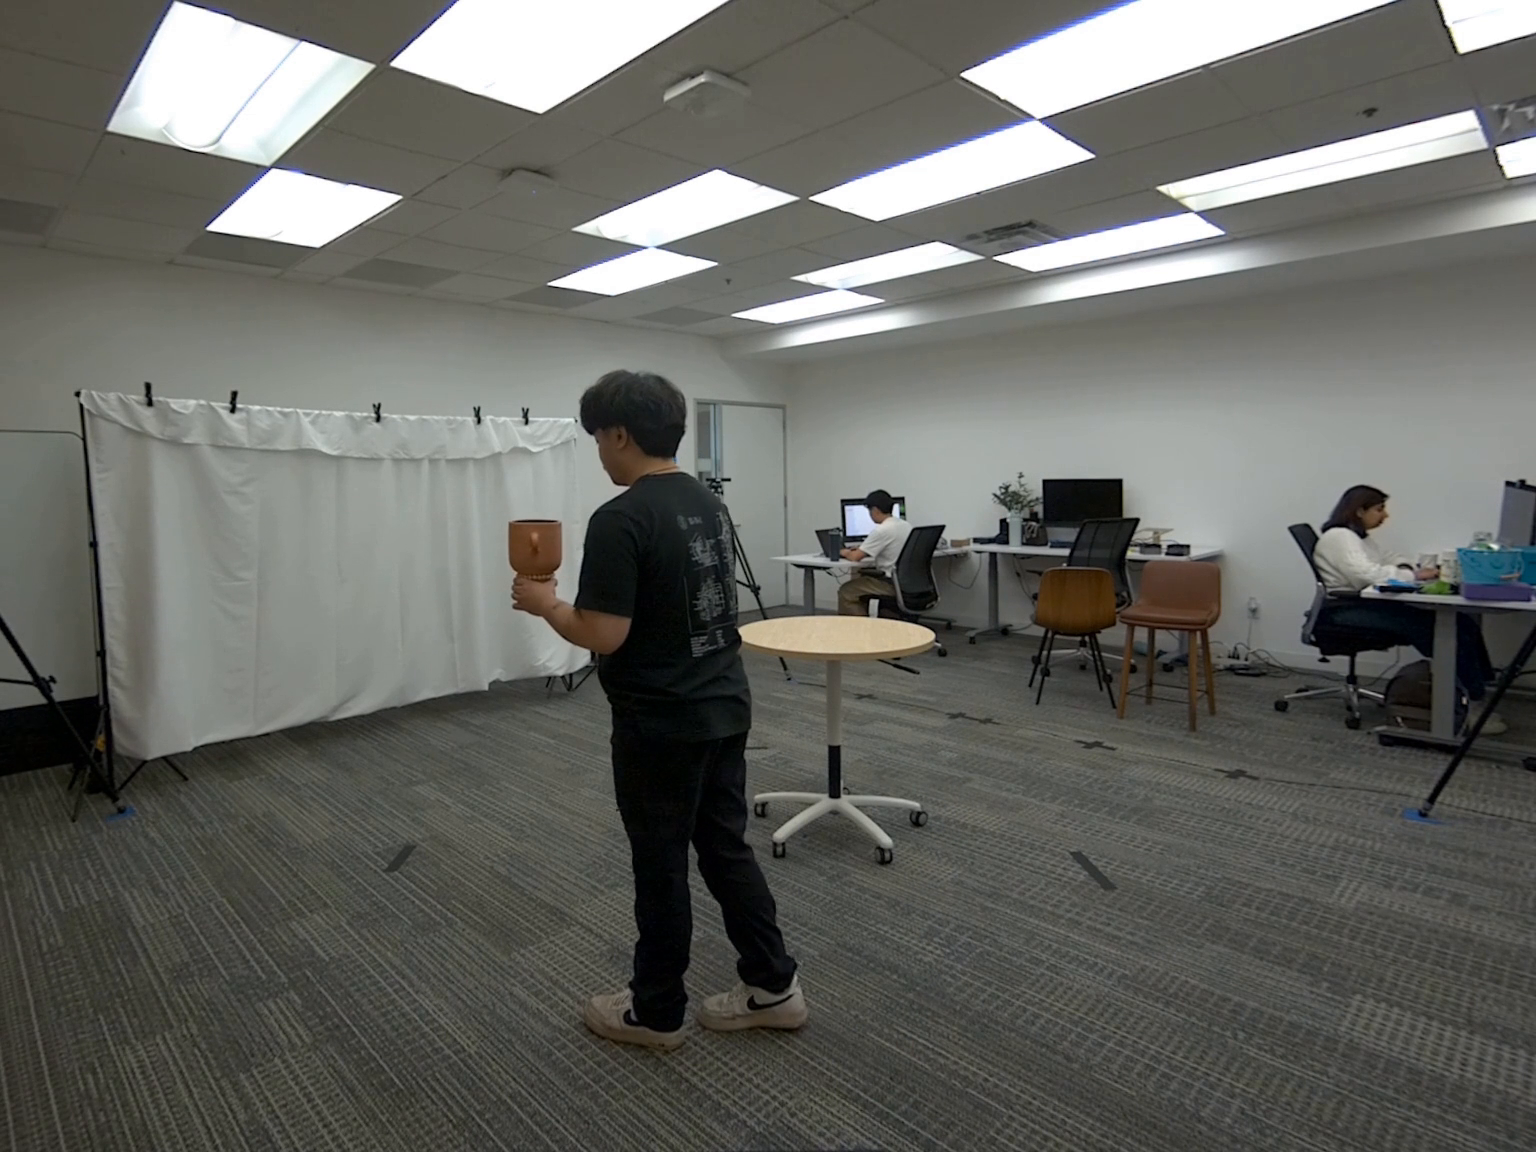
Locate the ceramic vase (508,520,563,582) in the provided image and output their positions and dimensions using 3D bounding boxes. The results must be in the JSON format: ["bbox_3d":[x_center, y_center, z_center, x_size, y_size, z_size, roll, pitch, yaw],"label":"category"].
[{"bbox_3d":[-0.589,-0.025,2.163,0.138,0.219,0.156,2,6,26],"label":"ceramic vase"}]
